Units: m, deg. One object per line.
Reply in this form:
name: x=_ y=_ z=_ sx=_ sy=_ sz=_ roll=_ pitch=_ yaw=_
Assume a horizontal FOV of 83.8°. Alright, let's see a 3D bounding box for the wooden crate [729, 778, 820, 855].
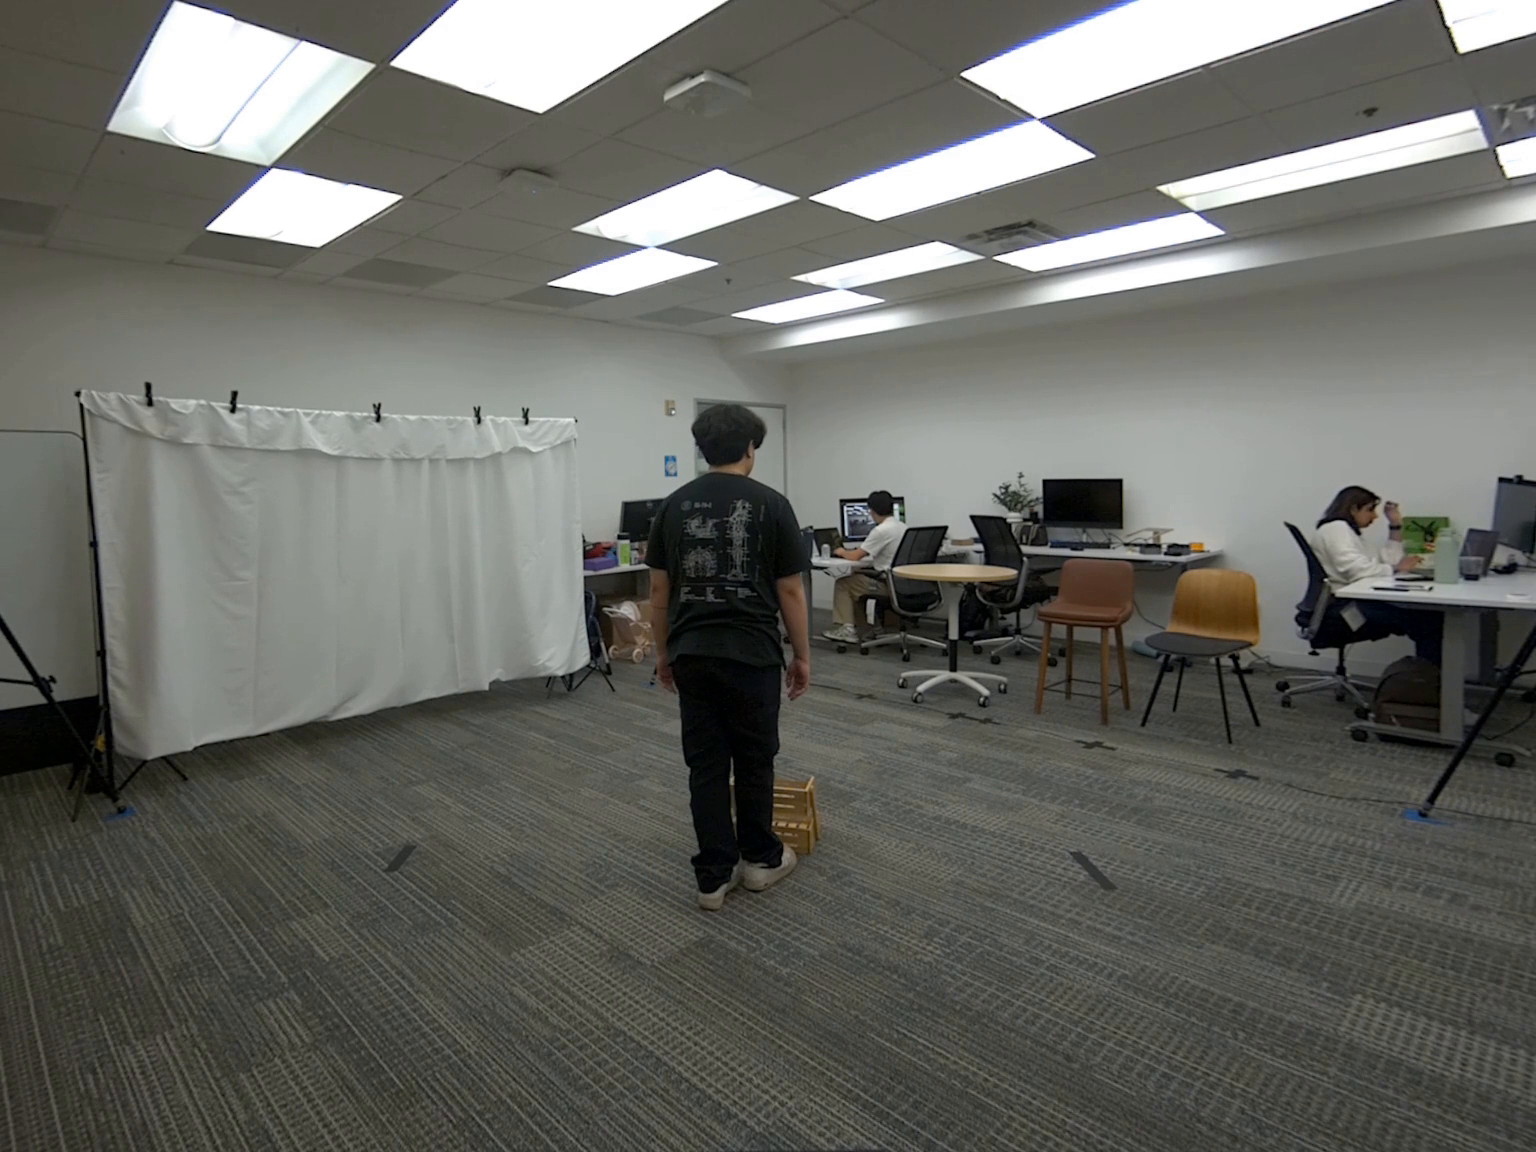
wooden crate: x=0.035 y=0.888 z=3.300 sx=0.329 sy=0.272 sz=0.299 roll=1 pitch=5 yaw=14
